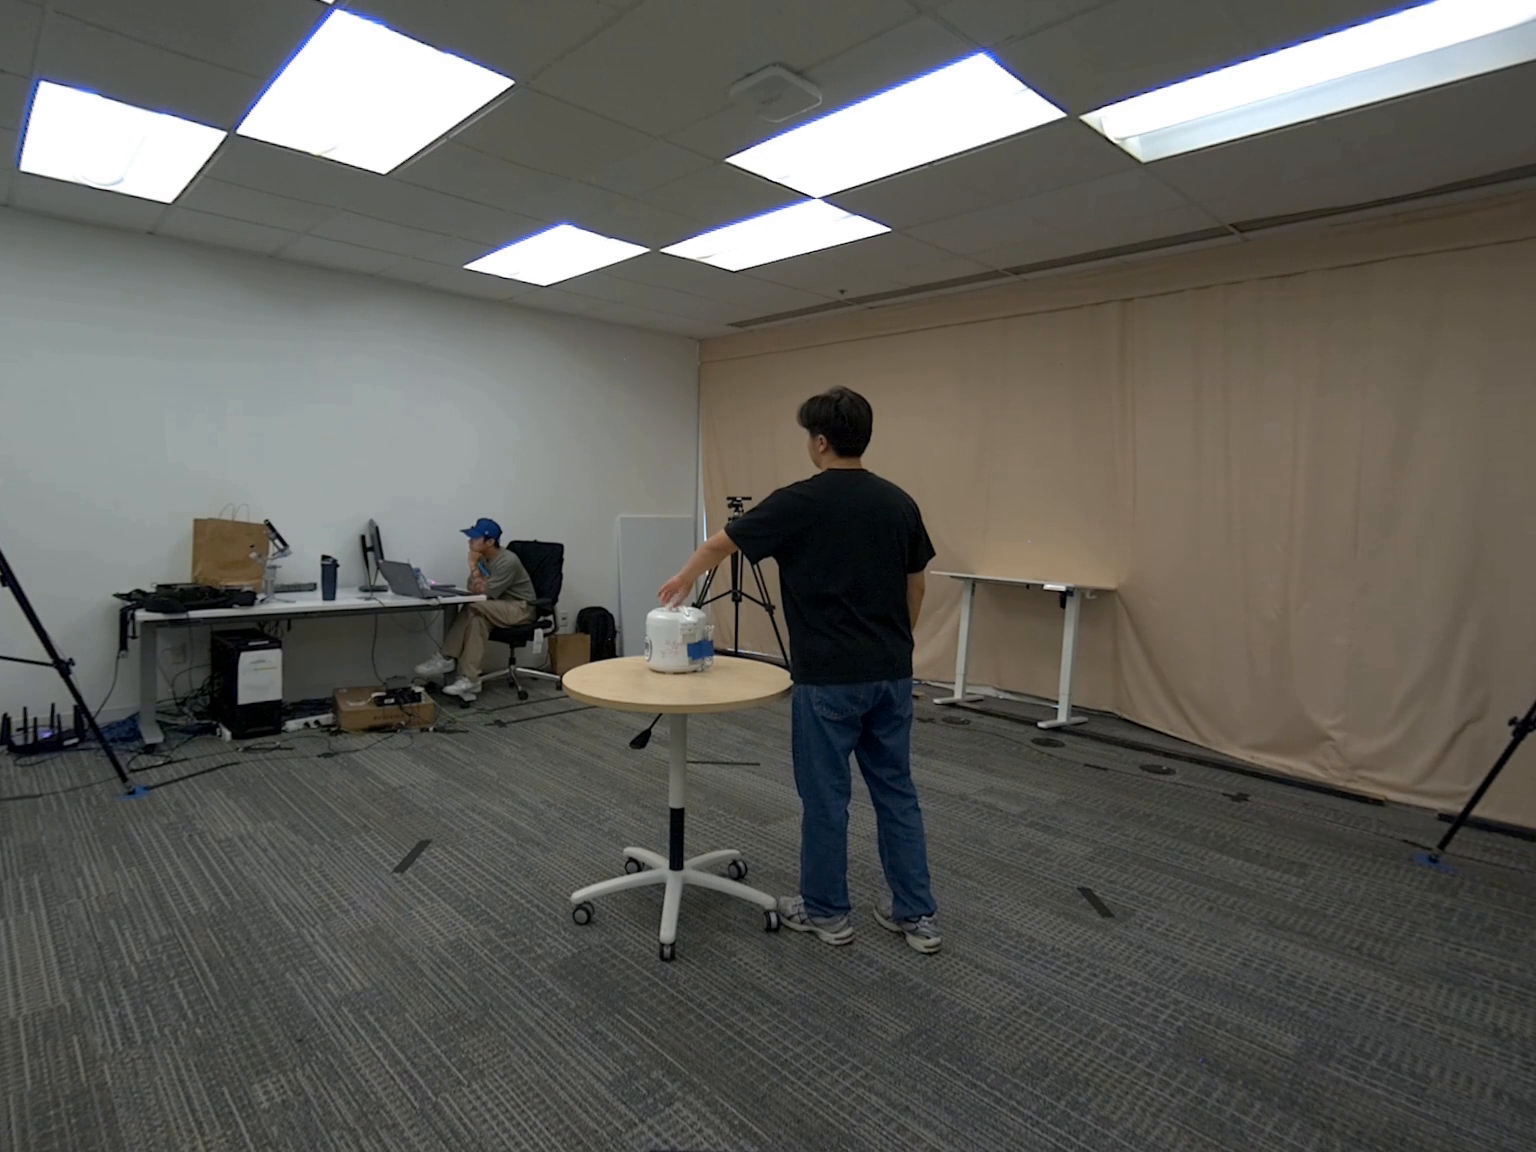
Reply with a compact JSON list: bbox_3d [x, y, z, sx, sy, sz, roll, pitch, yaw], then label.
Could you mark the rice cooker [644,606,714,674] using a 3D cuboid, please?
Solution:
[{"bbox_3d":[-0.320,0.209,2.917,0.213,0.232,0.225,0,3,-28],"label":"rice cooker"}]
